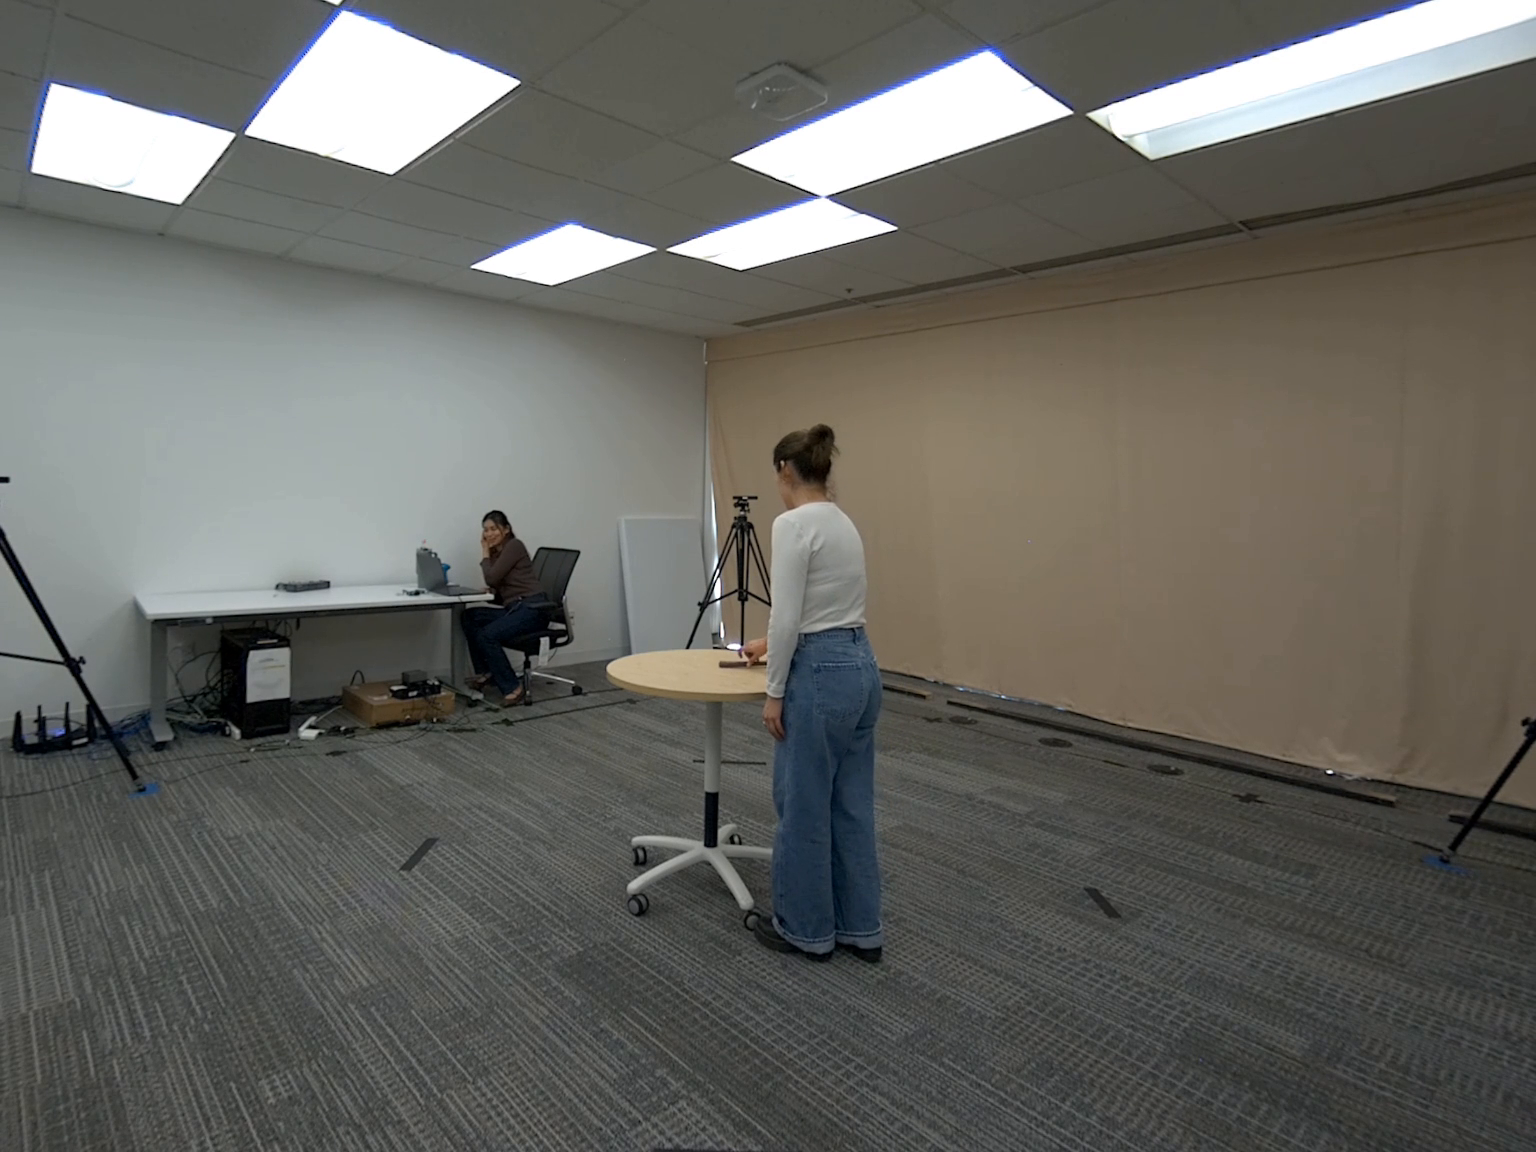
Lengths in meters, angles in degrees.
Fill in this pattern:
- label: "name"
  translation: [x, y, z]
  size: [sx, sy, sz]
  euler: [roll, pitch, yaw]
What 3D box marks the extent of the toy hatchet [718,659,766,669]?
- label: "toy hatchet"
  translation: [-0.051, 0.317, 3.067]
  size: [0.270, 0.029, 0.131]
  euler: [0, 4, 1]
